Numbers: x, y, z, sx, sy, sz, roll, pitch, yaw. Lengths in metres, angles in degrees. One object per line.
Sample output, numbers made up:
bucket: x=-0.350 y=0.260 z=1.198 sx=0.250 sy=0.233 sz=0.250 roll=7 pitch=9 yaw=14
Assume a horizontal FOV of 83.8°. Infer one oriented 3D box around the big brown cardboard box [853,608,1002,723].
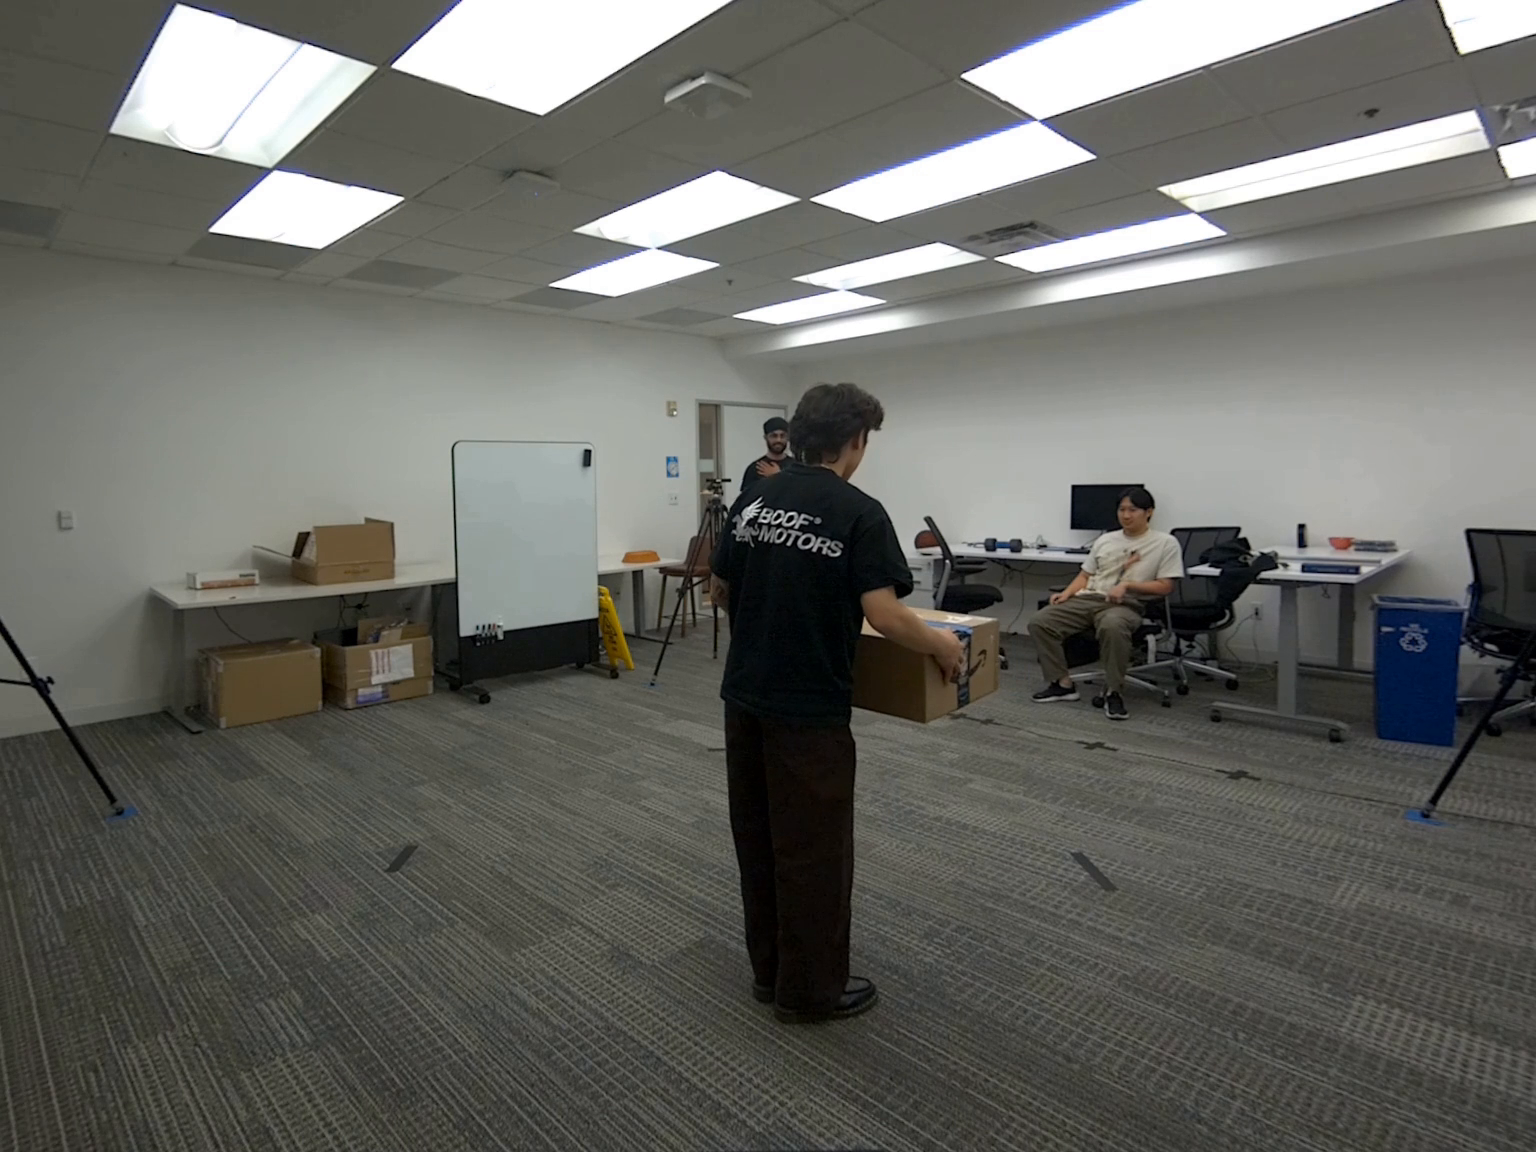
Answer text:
big brown cardboard box: x=0.324 y=0.224 z=2.536 sx=0.607 sy=0.232 sz=0.407 roll=4 pitch=10 yaw=41
